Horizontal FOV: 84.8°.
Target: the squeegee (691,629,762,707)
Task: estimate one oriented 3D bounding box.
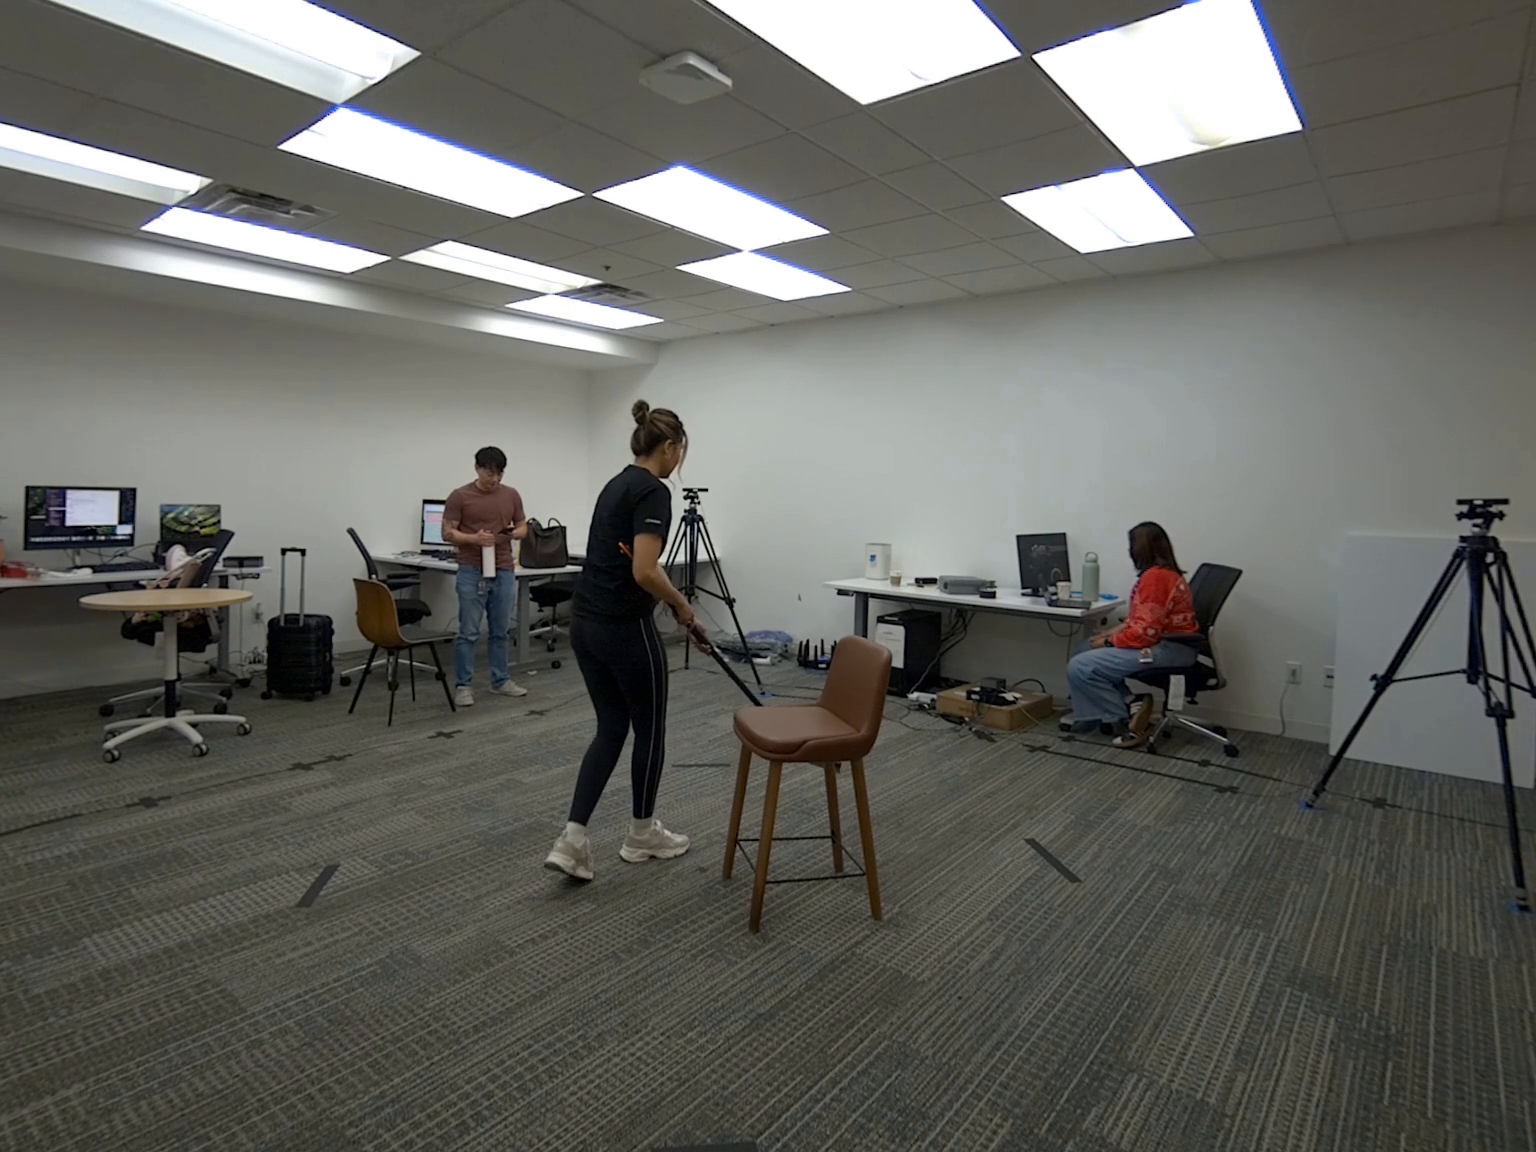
[{"bbox_3d":[-0.192,0.344,3.333,0.452,0.053,1.474,7,-33,36],"label":"squeegee"}]
